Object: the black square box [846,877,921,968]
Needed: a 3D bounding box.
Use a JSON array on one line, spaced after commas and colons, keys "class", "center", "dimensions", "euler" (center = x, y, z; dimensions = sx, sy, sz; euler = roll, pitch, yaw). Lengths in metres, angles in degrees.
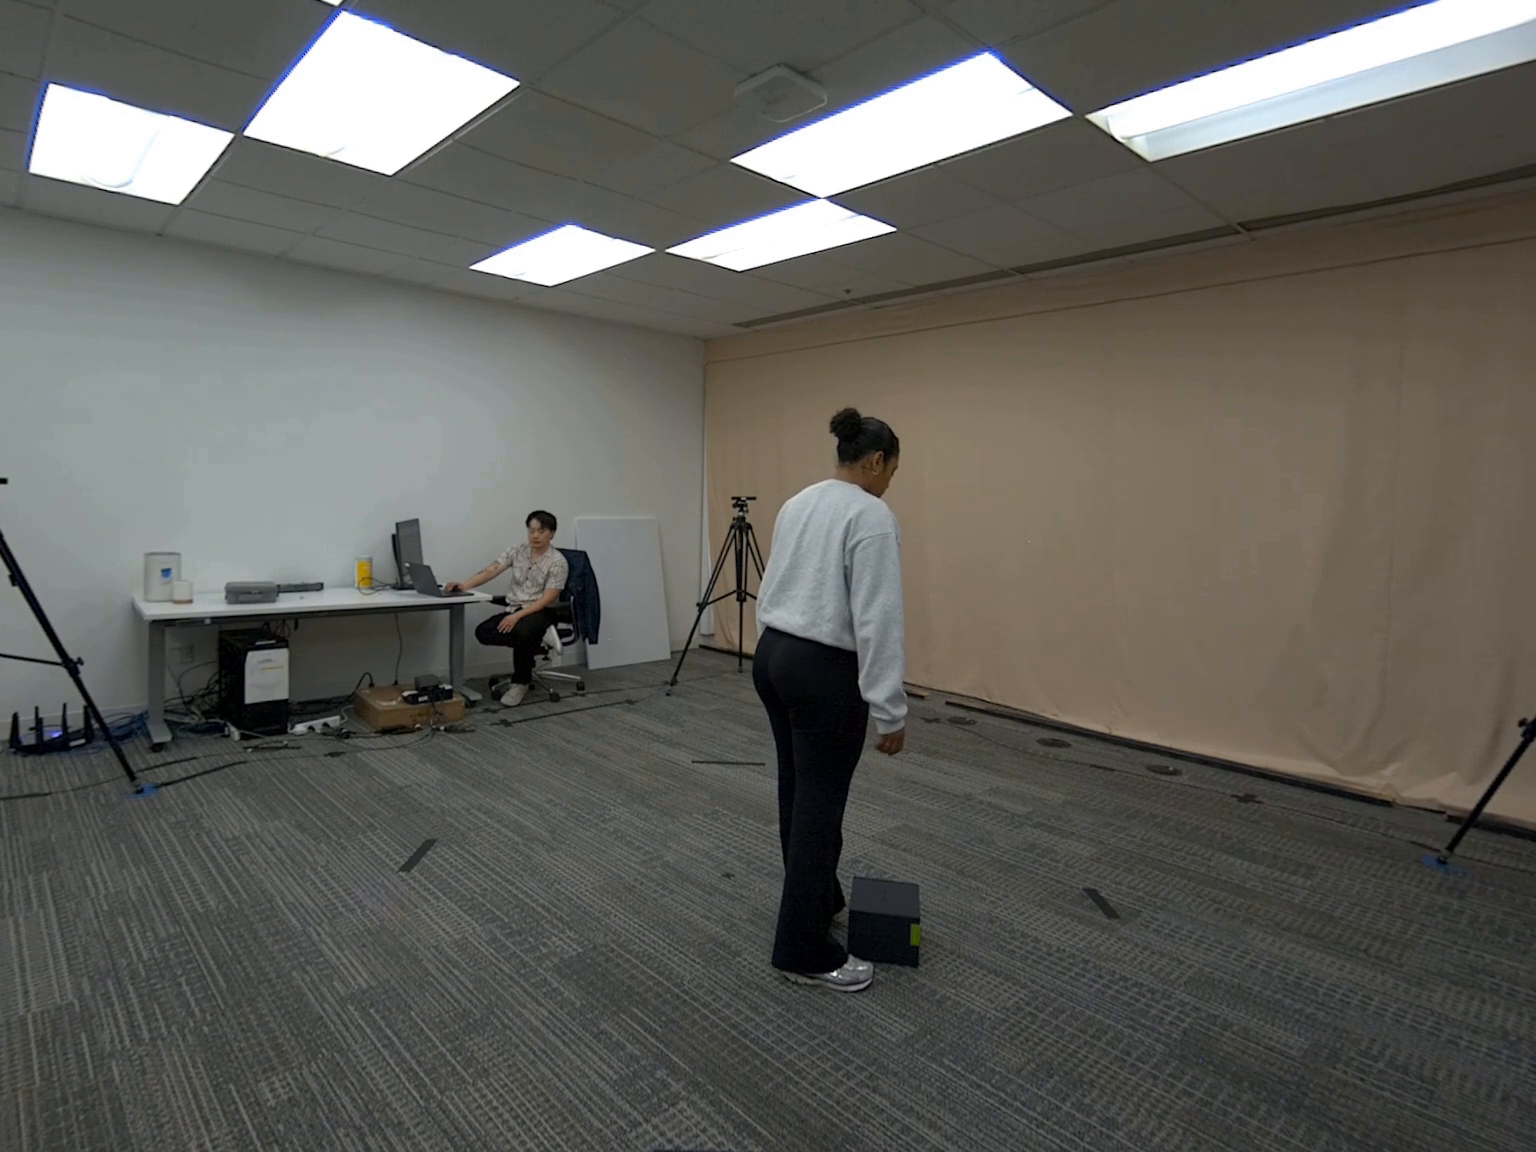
[{"class": "black square box", "center": [0.359, 1.077, 2.642], "dimensions": [0.219, 0.155, 0.226], "euler": [2, 4, 10]}]
